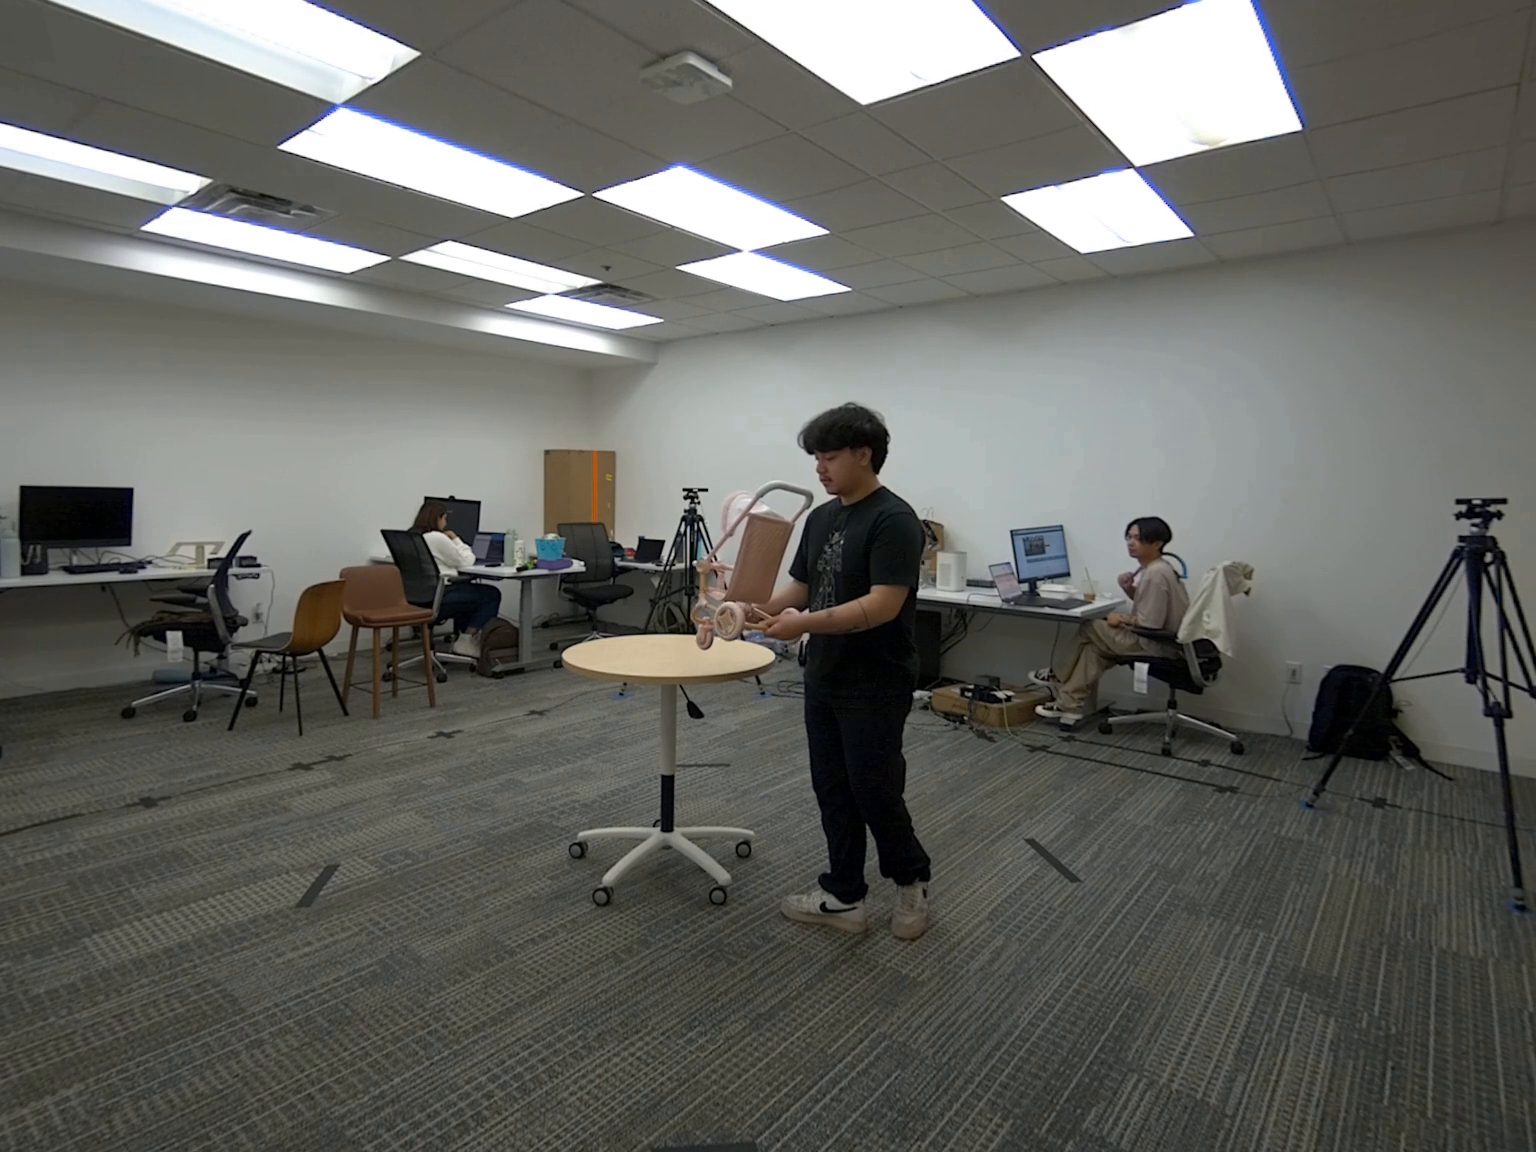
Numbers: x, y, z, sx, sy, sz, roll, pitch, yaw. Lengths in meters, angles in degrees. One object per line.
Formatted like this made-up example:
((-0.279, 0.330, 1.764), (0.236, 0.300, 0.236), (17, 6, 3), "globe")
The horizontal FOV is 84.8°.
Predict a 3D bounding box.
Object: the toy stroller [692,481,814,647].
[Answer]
((-0.079, -0.022, 2.558), (0.272, 0.535, 0.353), (9, -1, -40), "toy stroller")
